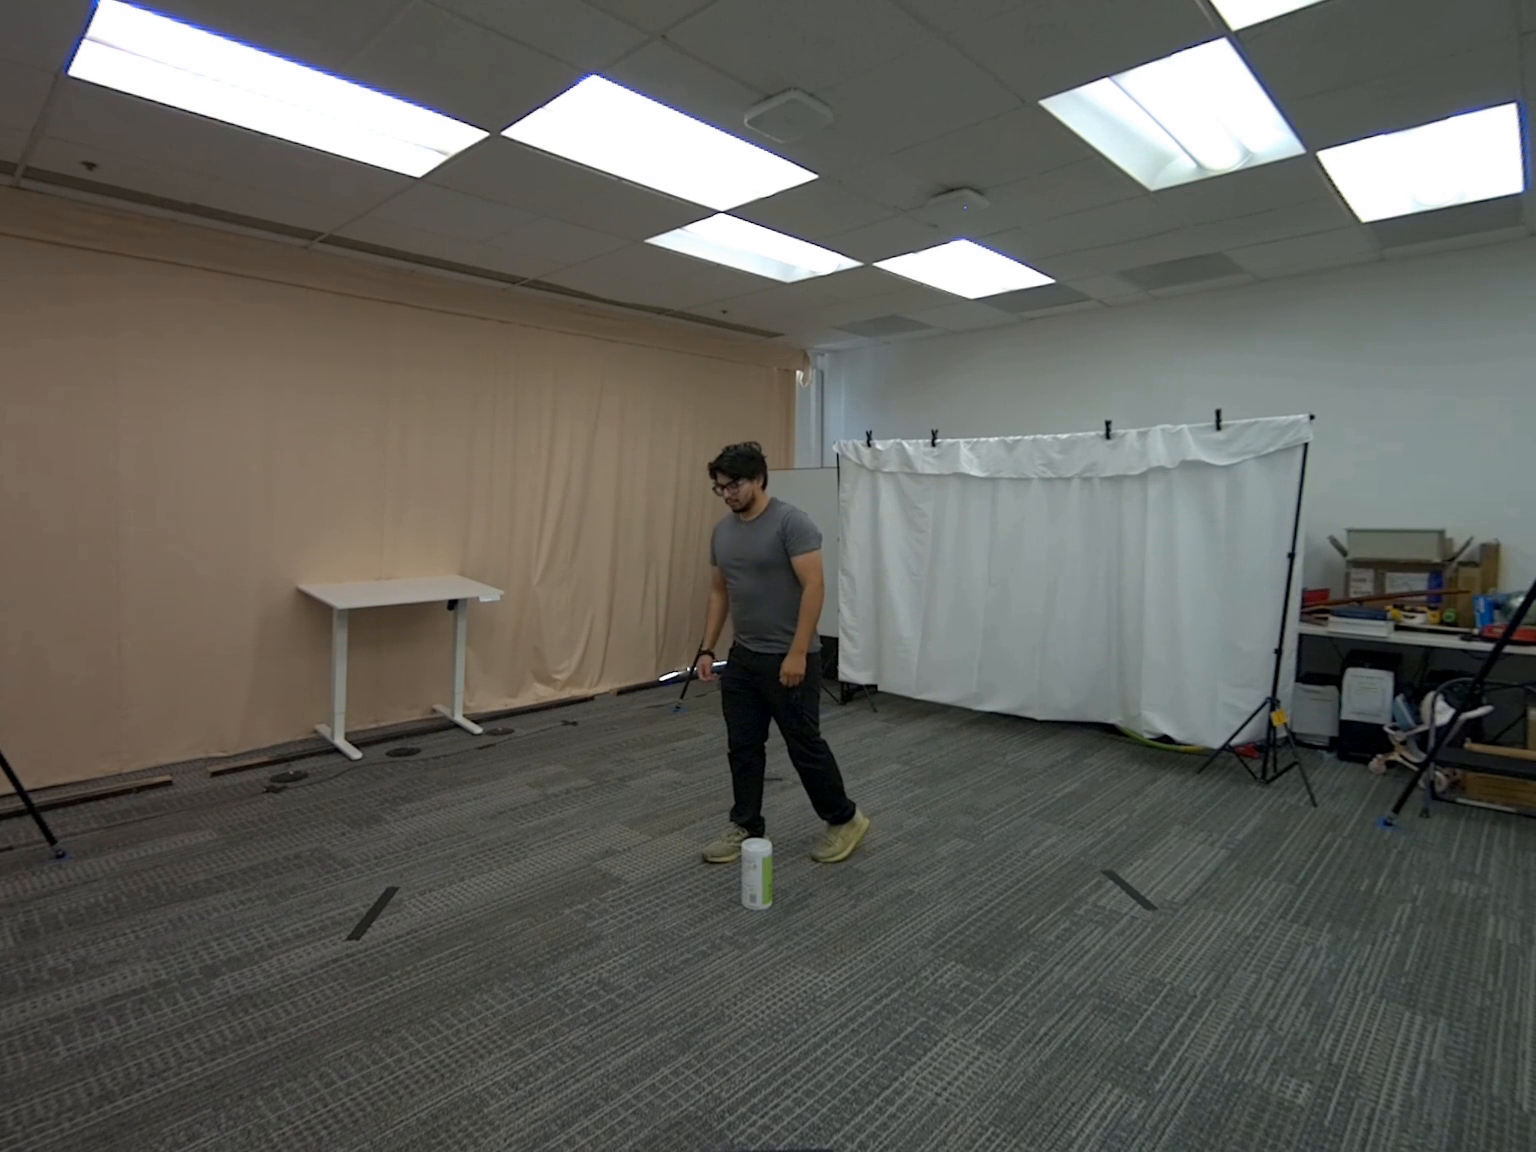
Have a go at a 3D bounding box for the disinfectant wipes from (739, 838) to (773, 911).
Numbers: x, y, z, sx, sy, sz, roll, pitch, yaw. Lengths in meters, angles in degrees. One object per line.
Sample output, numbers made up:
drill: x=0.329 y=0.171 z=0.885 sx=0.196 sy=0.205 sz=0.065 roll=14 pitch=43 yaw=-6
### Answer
disinfectant wipes: x=-0.039 y=1.039 z=2.936 sx=0.118 sy=0.217 sz=0.118 roll=0 pitch=4 yaw=-2
